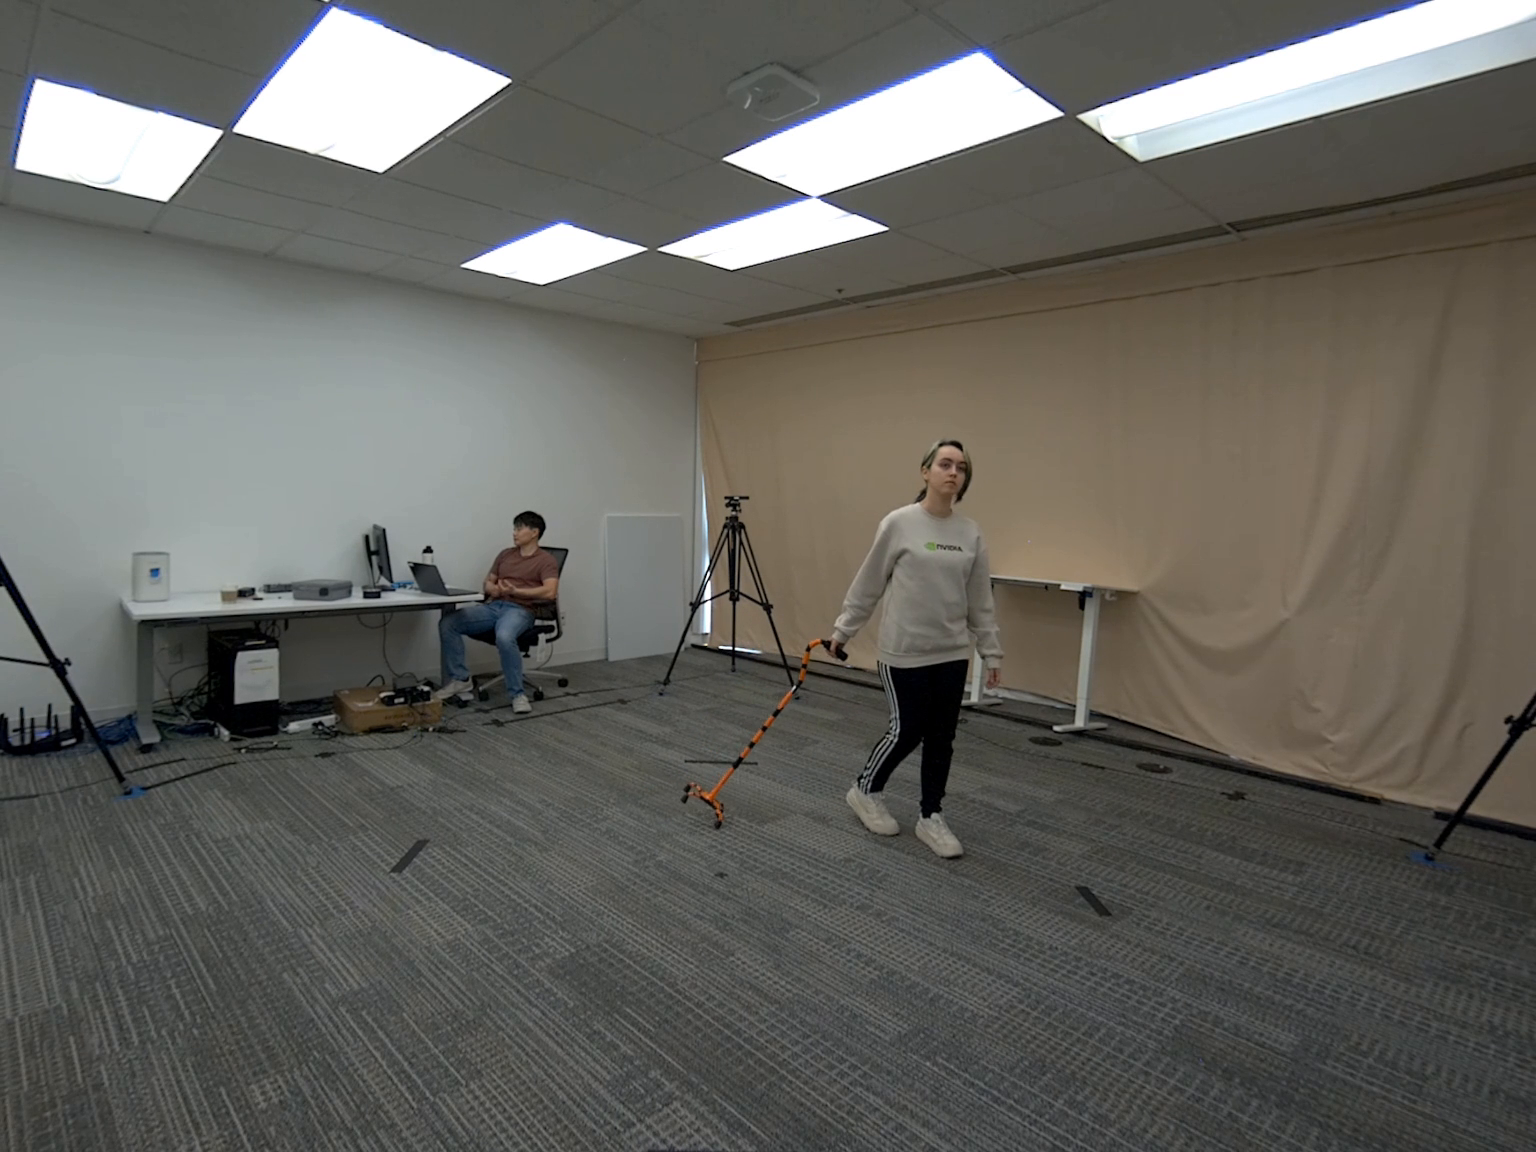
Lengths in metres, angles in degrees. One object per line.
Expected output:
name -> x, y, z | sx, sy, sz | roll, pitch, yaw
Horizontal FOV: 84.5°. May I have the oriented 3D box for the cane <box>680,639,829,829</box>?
cane -> -0.023, 0.642, 3.565 | 0.206, 0.907, 0.152 | 37, 4, -1
